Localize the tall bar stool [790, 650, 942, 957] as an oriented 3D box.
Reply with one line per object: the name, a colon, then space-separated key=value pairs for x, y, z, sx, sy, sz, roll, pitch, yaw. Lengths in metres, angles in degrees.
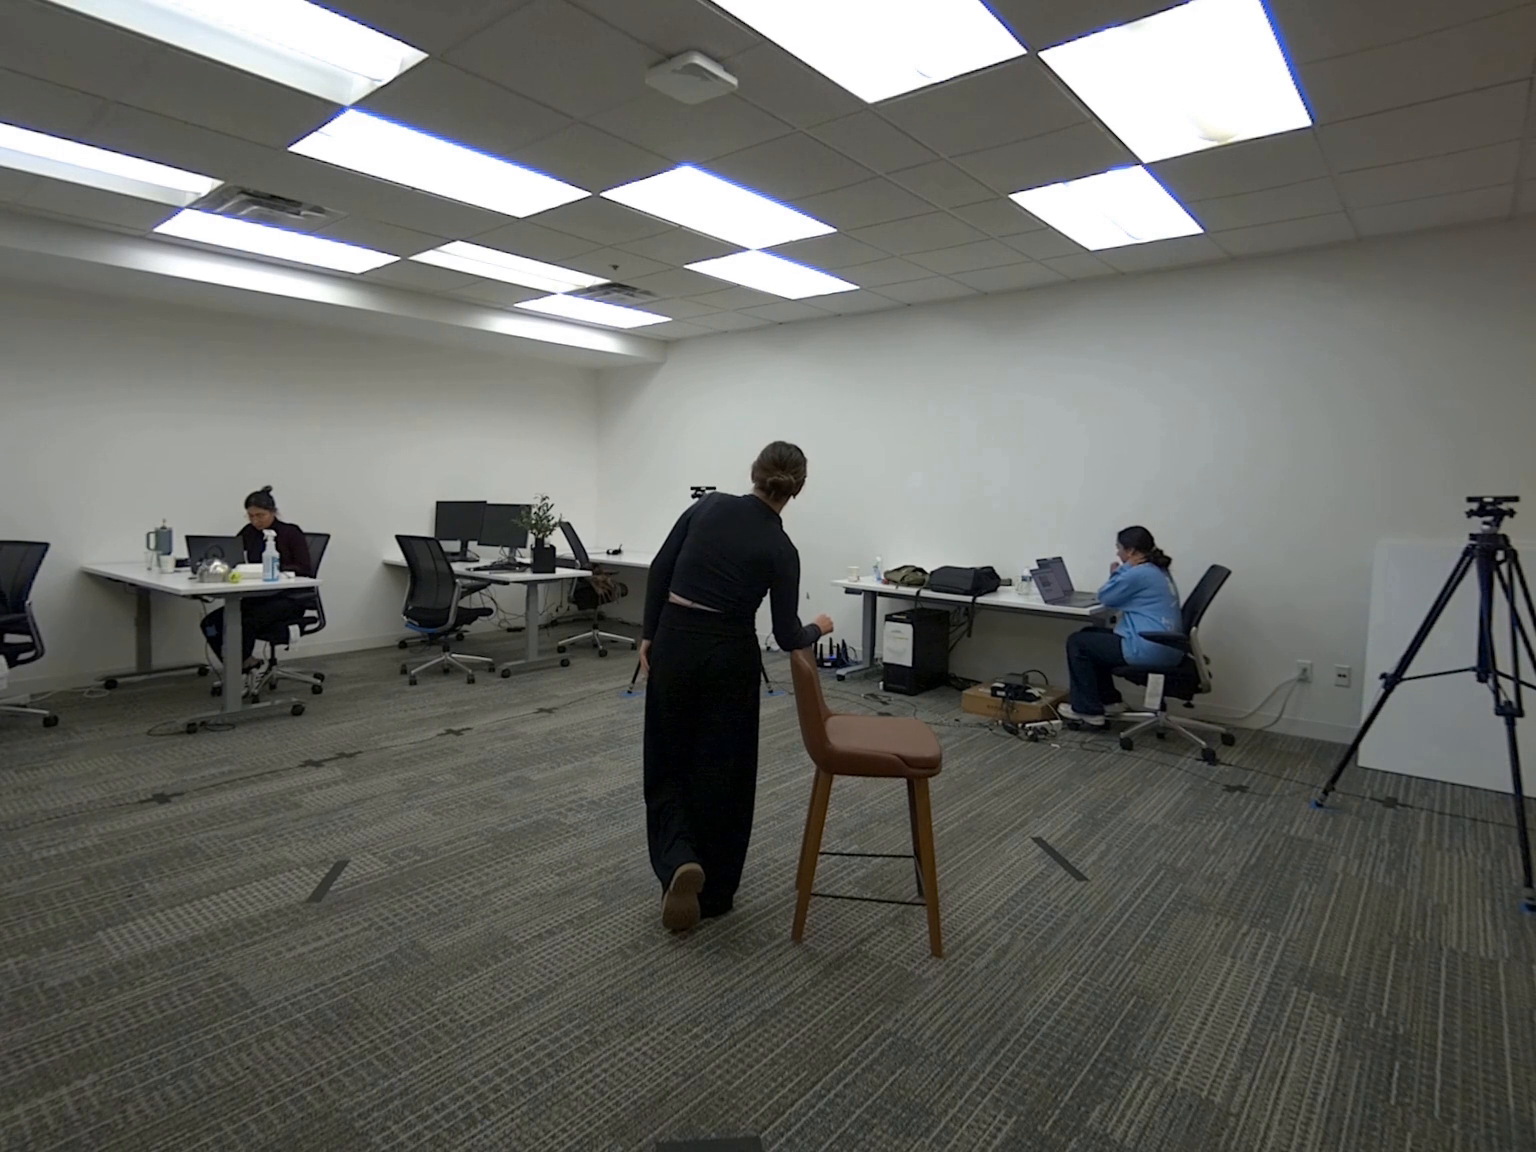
tall bar stool: x=0.311 y=0.678 z=2.742 sx=0.471 sy=0.887 sz=0.454 roll=0 pitch=3 yaw=6
